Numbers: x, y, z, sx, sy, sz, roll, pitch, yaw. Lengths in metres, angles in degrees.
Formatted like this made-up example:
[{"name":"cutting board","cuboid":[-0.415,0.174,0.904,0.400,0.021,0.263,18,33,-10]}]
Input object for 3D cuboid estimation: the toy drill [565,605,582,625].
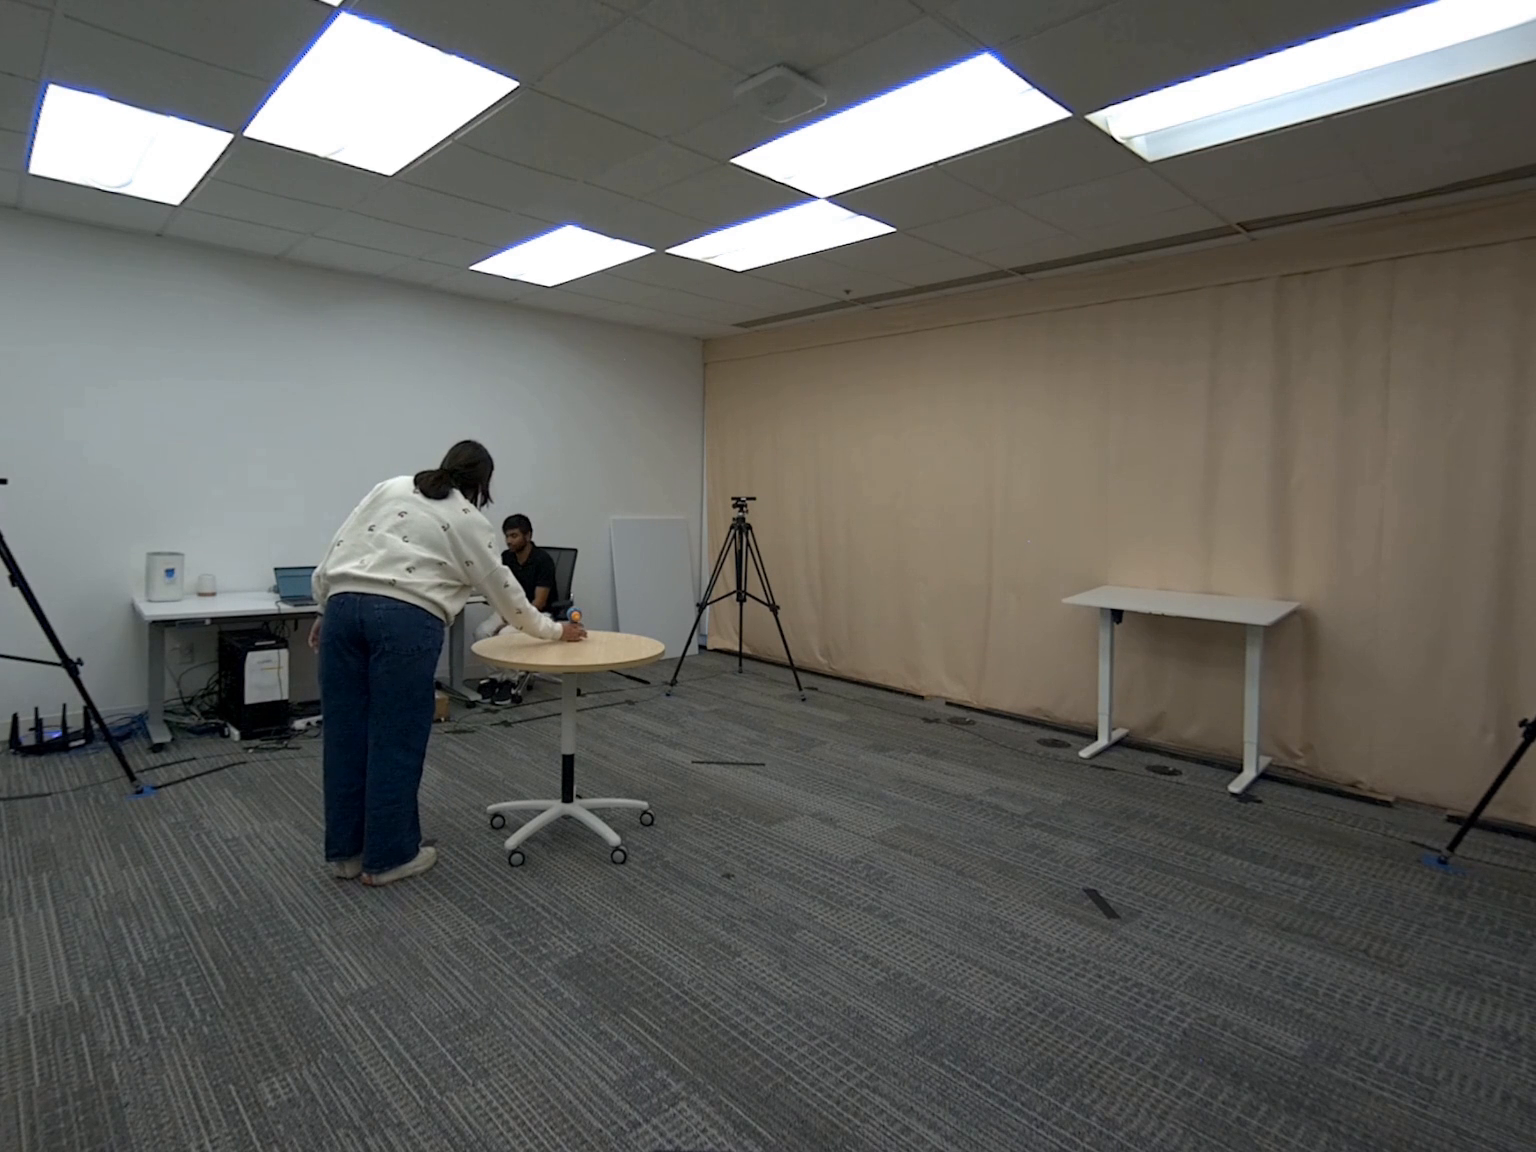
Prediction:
[{"name":"toy drill","cuboid":[-0.816,0.202,3.490,0.060,0.145,0.172,3,5,-17]}]
